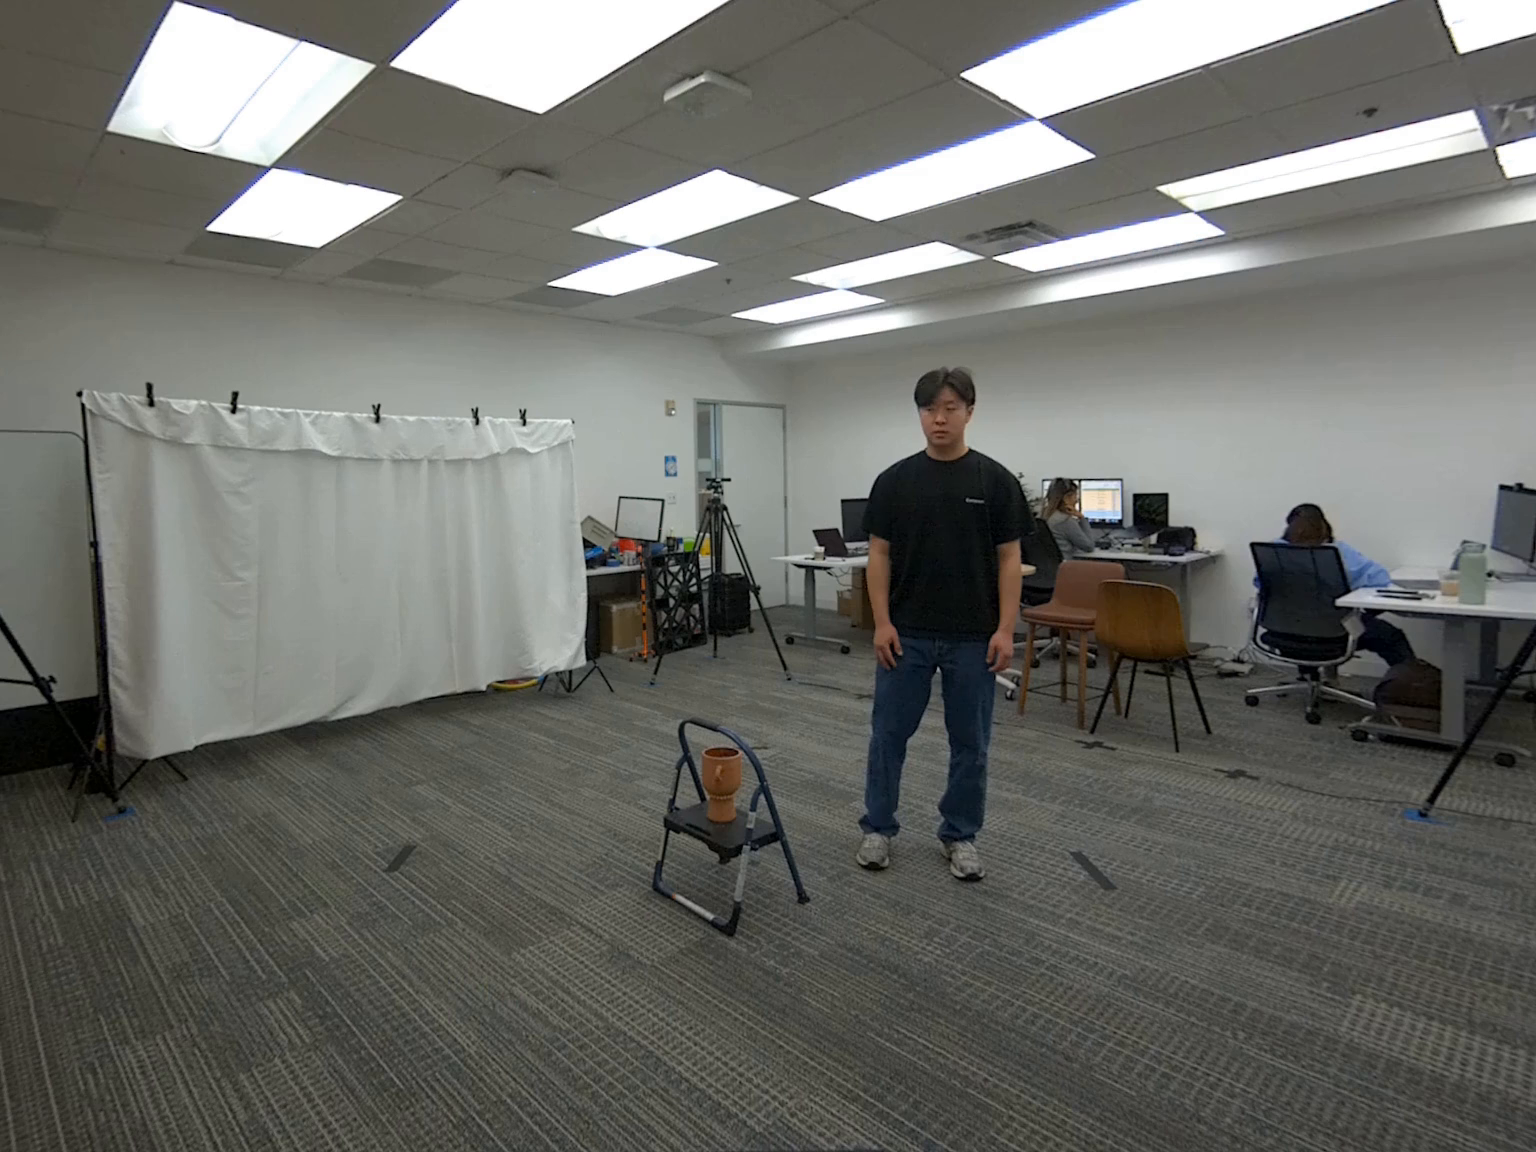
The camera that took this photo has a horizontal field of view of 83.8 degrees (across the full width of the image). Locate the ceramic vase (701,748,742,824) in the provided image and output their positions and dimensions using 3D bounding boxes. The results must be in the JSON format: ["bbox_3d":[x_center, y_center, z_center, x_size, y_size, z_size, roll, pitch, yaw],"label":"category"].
[{"bbox_3d":[-0.152,0.699,2.862,0.154,0.219,0.139,-4,6,-44],"label":"ceramic vase"}]
